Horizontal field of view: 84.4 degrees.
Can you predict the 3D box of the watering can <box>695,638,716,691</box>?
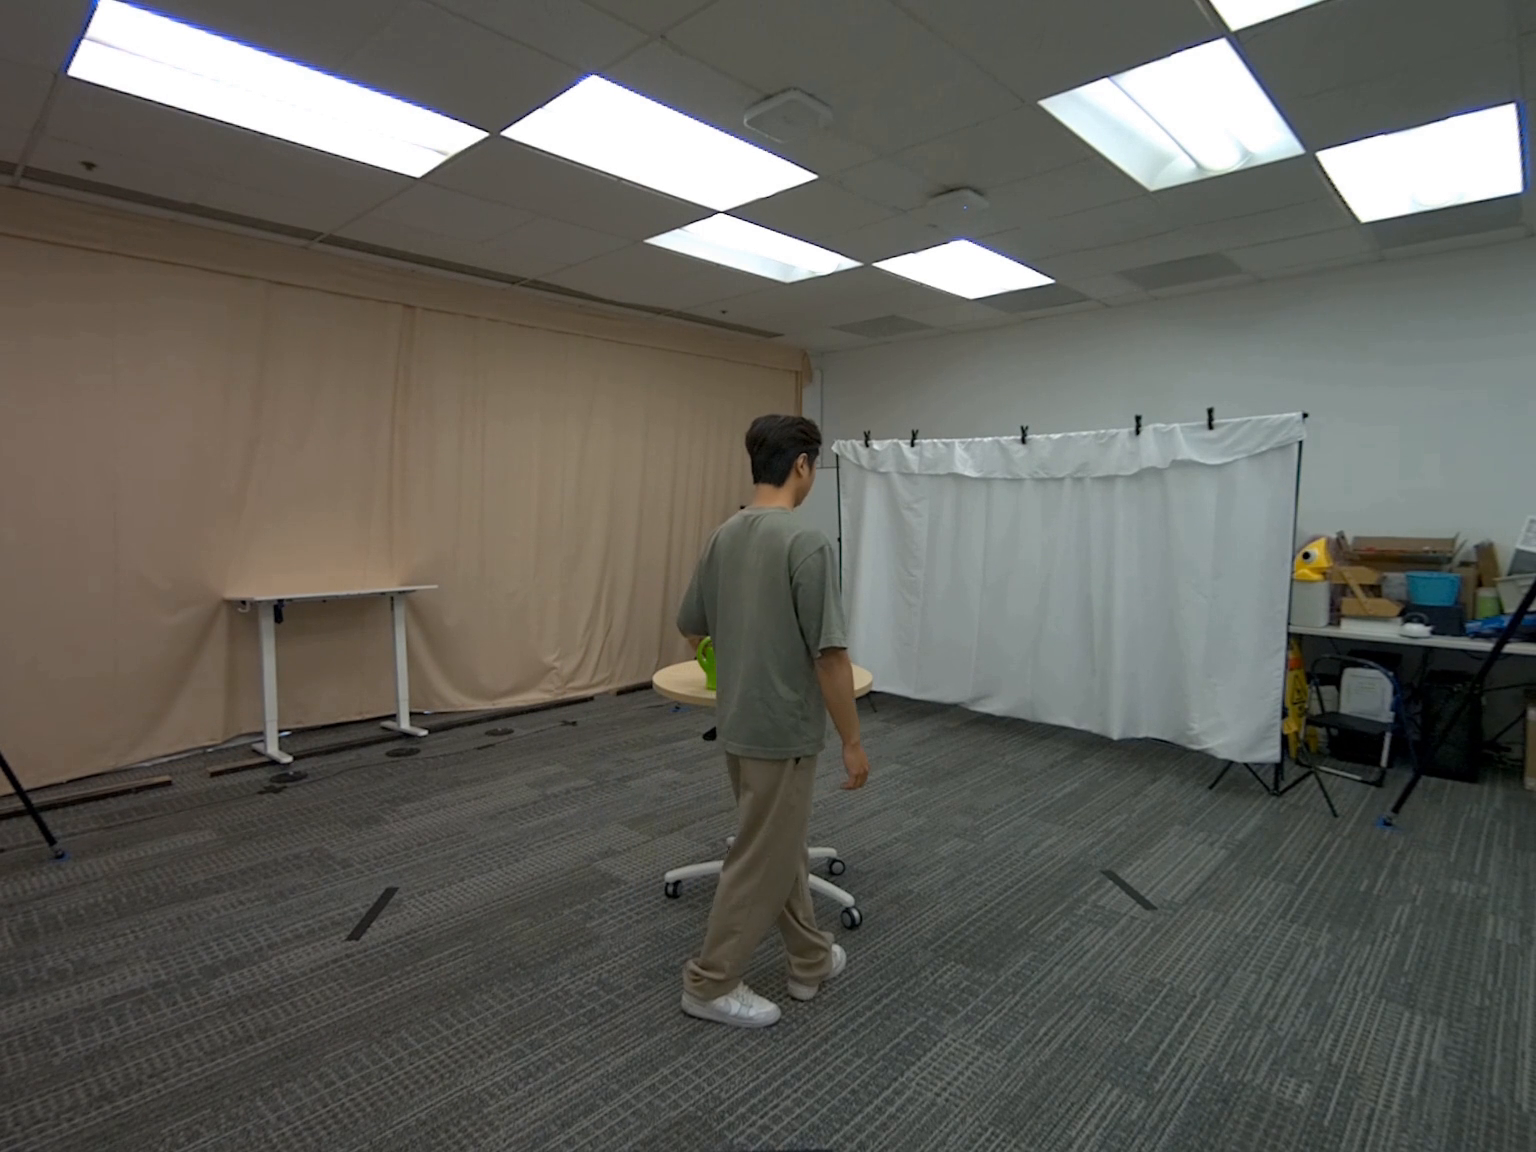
[{"bbox_3d":[-0.092,0.285,2.761,0.276,0.176,0.099,0,6,-9],"label":"watering can"}]
